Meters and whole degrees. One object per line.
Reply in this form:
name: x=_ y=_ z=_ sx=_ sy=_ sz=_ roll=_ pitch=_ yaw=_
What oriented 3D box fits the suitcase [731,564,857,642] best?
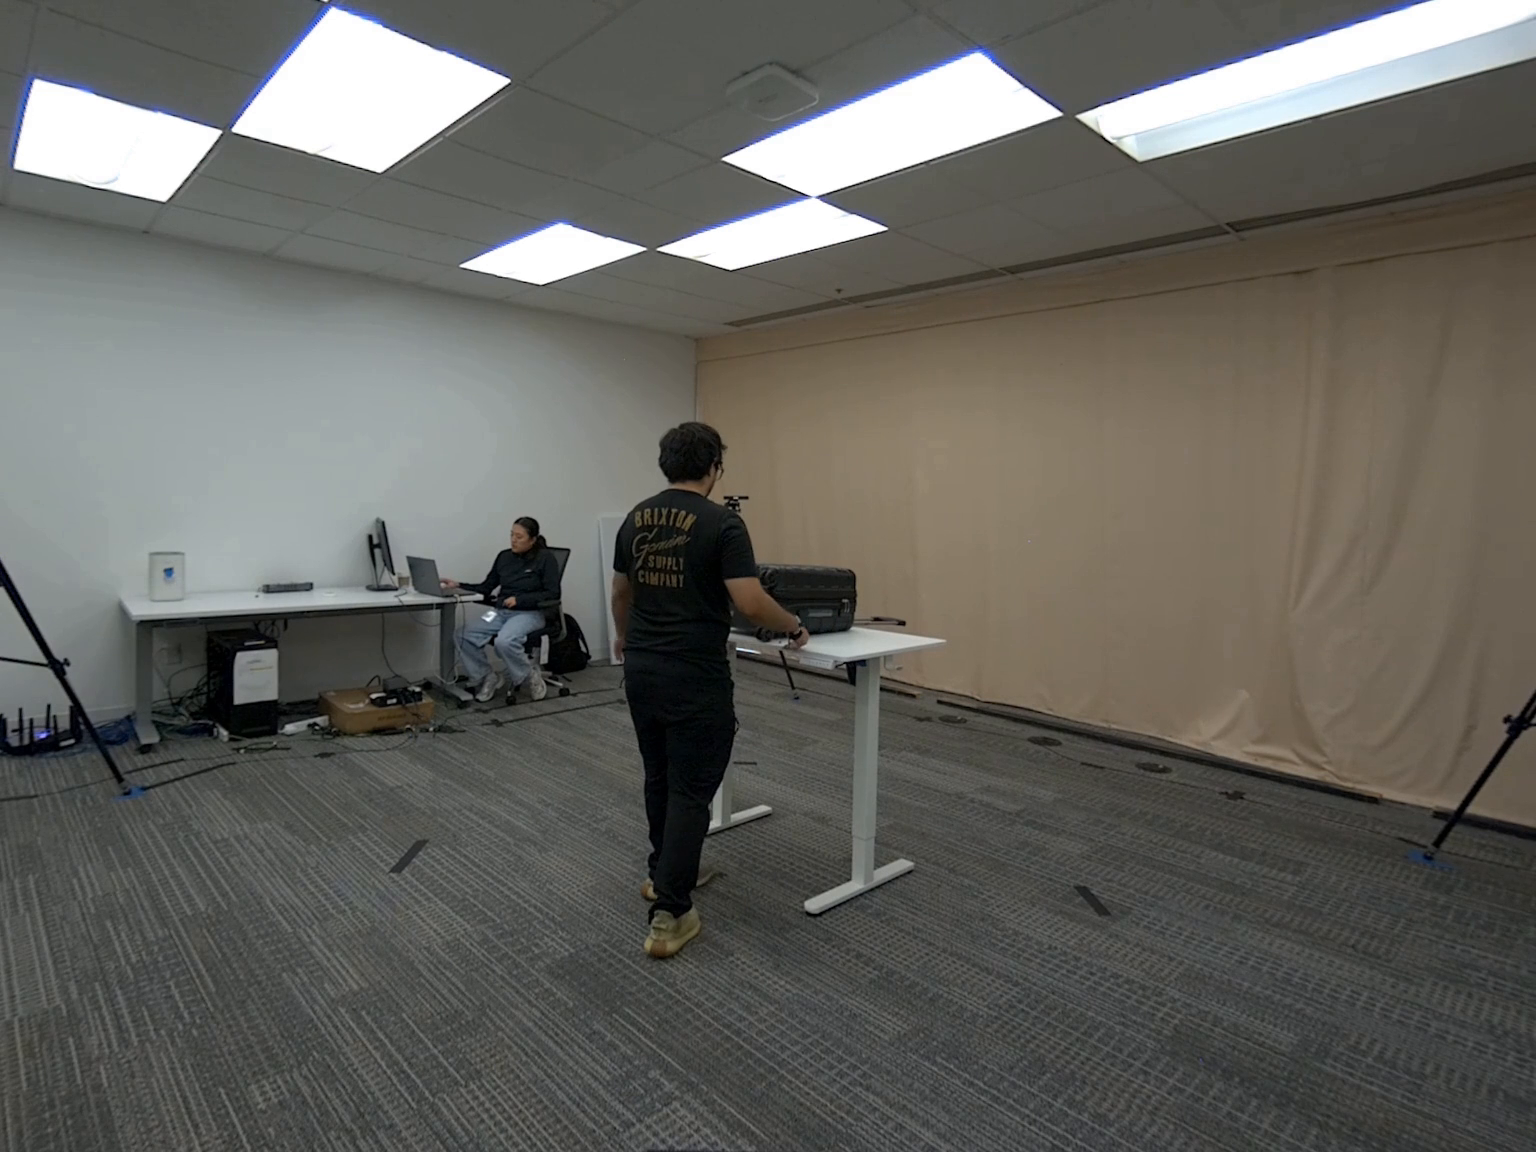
suitcase: x=0.208 y=0.086 z=3.374 sx=0.955 sy=0.257 sz=0.393 roll=-1 pitch=3 yaw=-44
